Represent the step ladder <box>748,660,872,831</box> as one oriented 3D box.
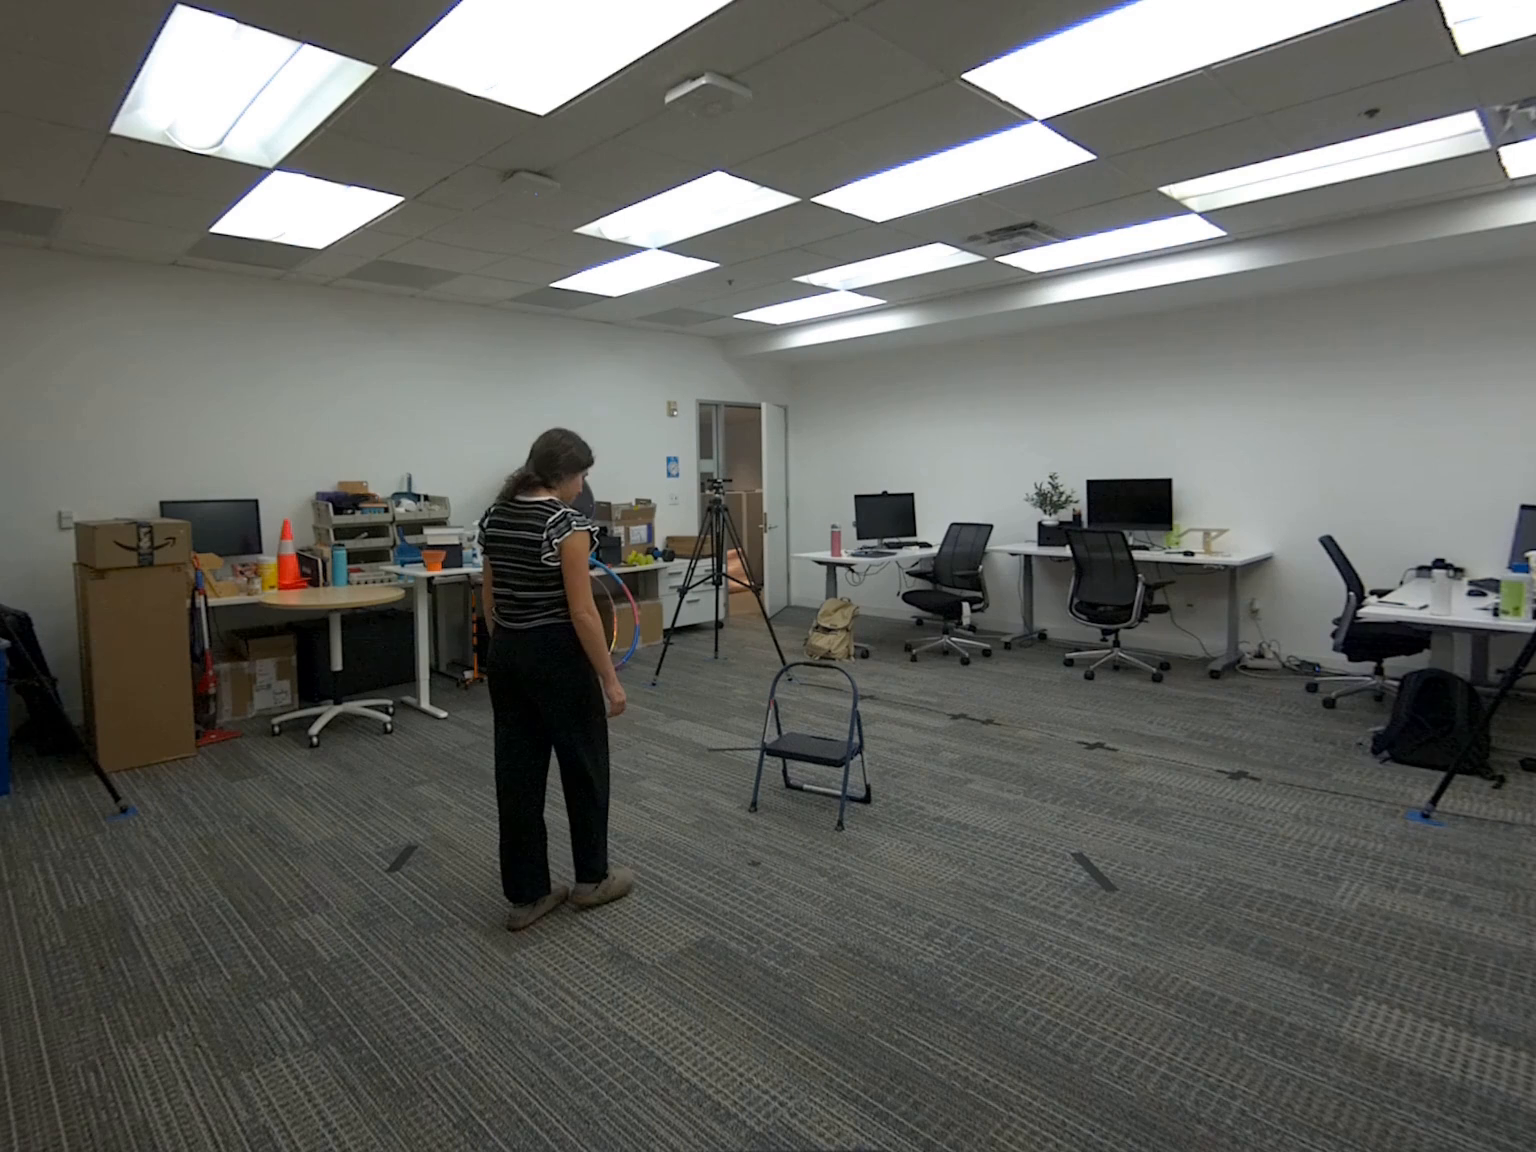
[{"bbox_3d":[0.182,0.681,3.614,0.442,0.604,0.341,2,5,30],"label":"step ladder"}]
